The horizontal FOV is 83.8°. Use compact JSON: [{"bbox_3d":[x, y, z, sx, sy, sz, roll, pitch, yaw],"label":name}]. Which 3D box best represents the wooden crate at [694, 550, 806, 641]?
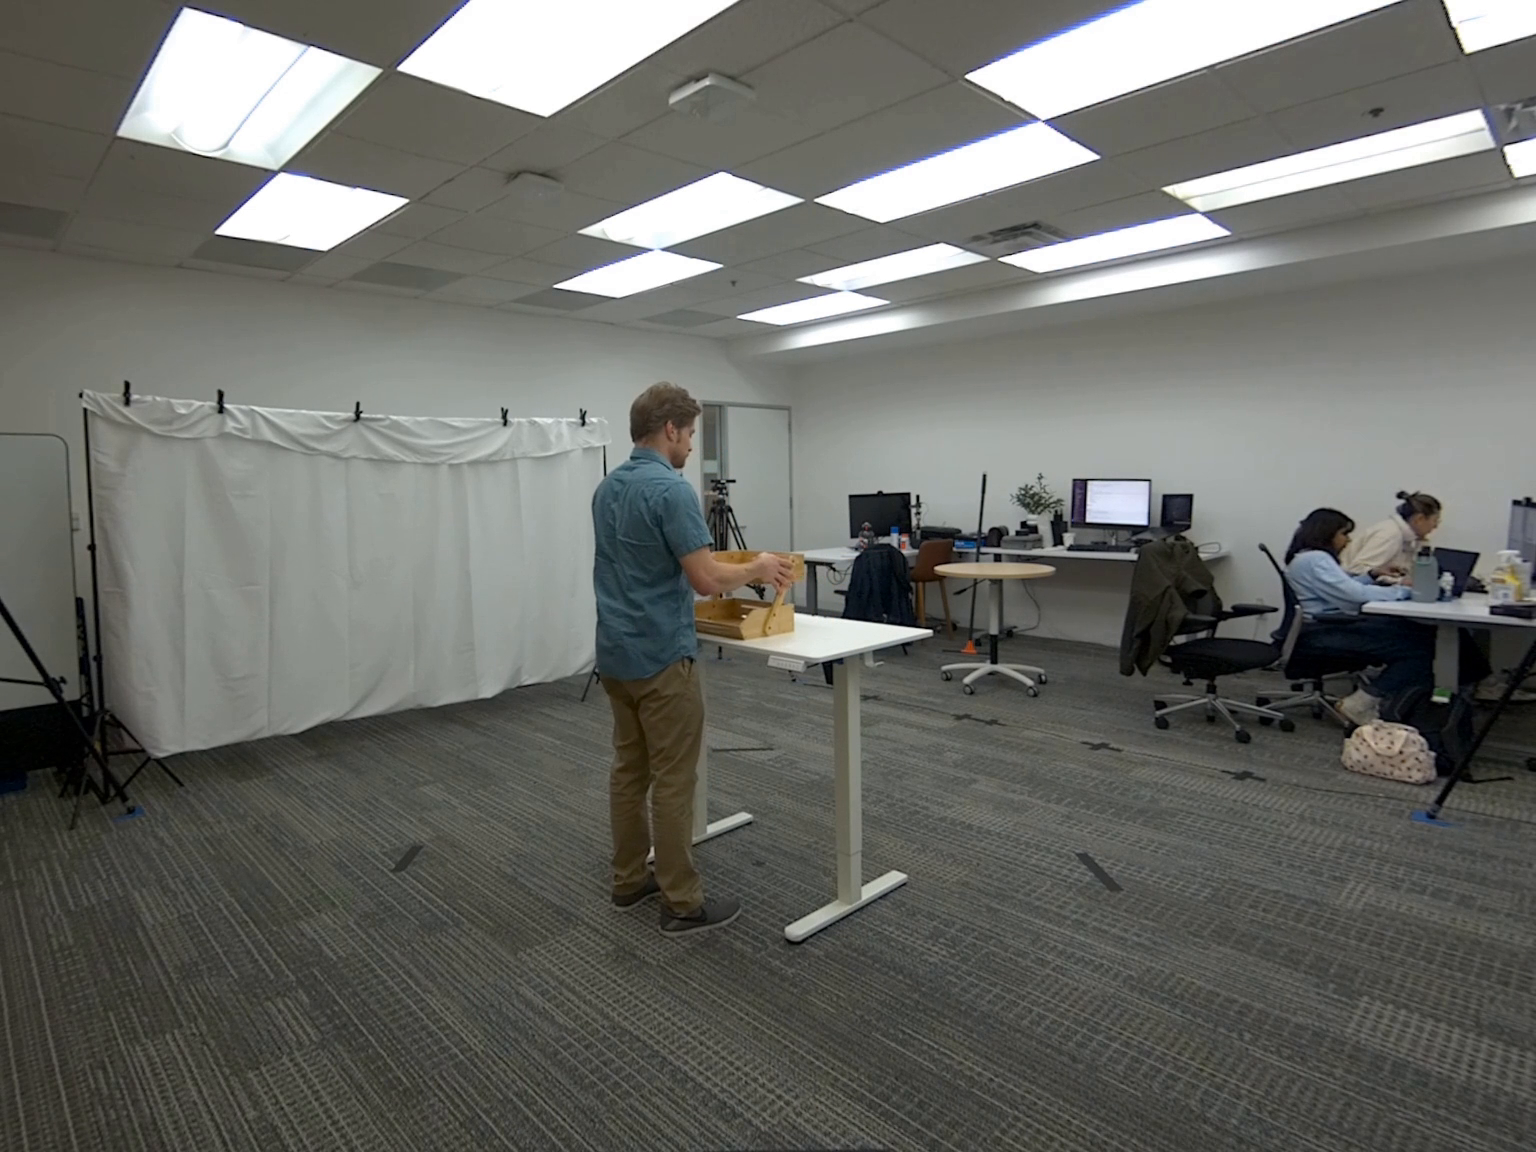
[{"bbox_3d":[-0.086,0.054,2.917,0.294,0.272,0.334,-4,5,-43],"label":"wooden crate"}]
